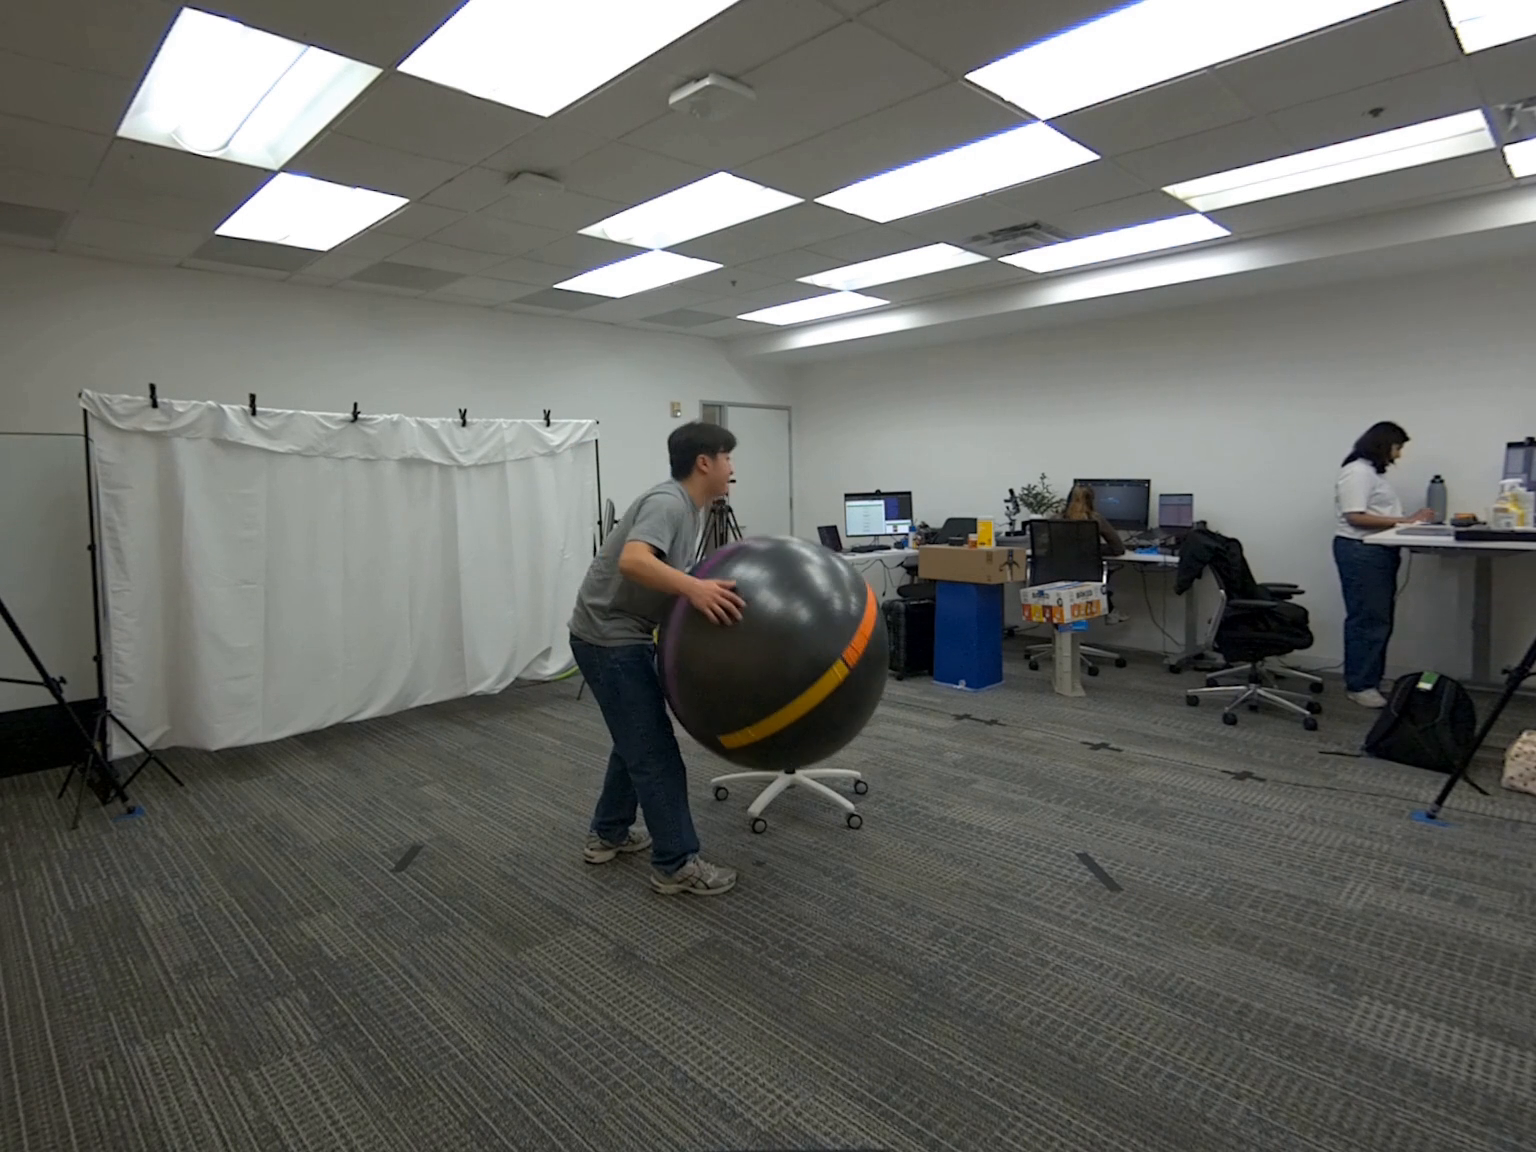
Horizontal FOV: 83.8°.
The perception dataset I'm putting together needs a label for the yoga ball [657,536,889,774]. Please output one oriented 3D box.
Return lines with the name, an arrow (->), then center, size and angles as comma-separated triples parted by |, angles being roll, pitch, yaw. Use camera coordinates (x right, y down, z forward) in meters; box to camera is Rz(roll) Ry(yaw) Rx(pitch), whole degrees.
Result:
yoga ball -> 0.010, 0.263, 2.787 | 0.757, 0.755, 0.762 | -1, 5, -2
